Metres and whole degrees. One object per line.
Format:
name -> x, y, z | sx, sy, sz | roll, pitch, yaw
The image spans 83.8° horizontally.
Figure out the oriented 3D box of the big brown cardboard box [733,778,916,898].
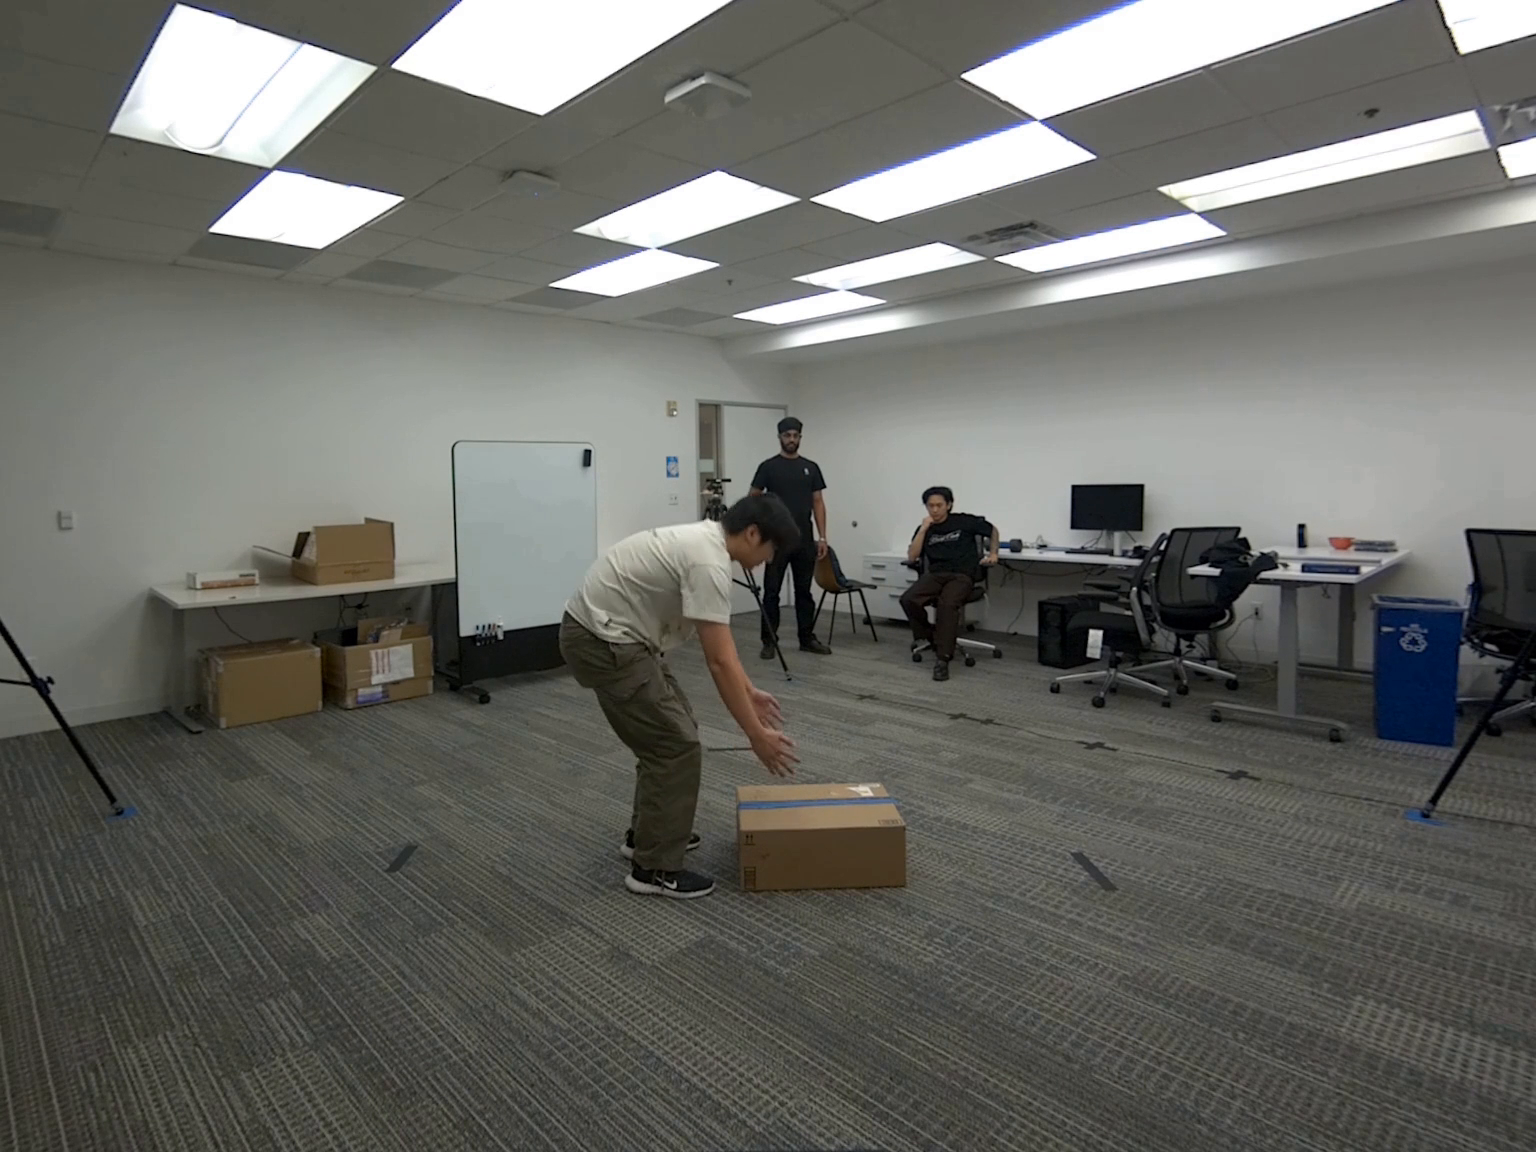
big brown cardboard box -> 0.182, 0.928, 3.090 | 0.588, 0.232, 0.420 | -2, 6, -3
